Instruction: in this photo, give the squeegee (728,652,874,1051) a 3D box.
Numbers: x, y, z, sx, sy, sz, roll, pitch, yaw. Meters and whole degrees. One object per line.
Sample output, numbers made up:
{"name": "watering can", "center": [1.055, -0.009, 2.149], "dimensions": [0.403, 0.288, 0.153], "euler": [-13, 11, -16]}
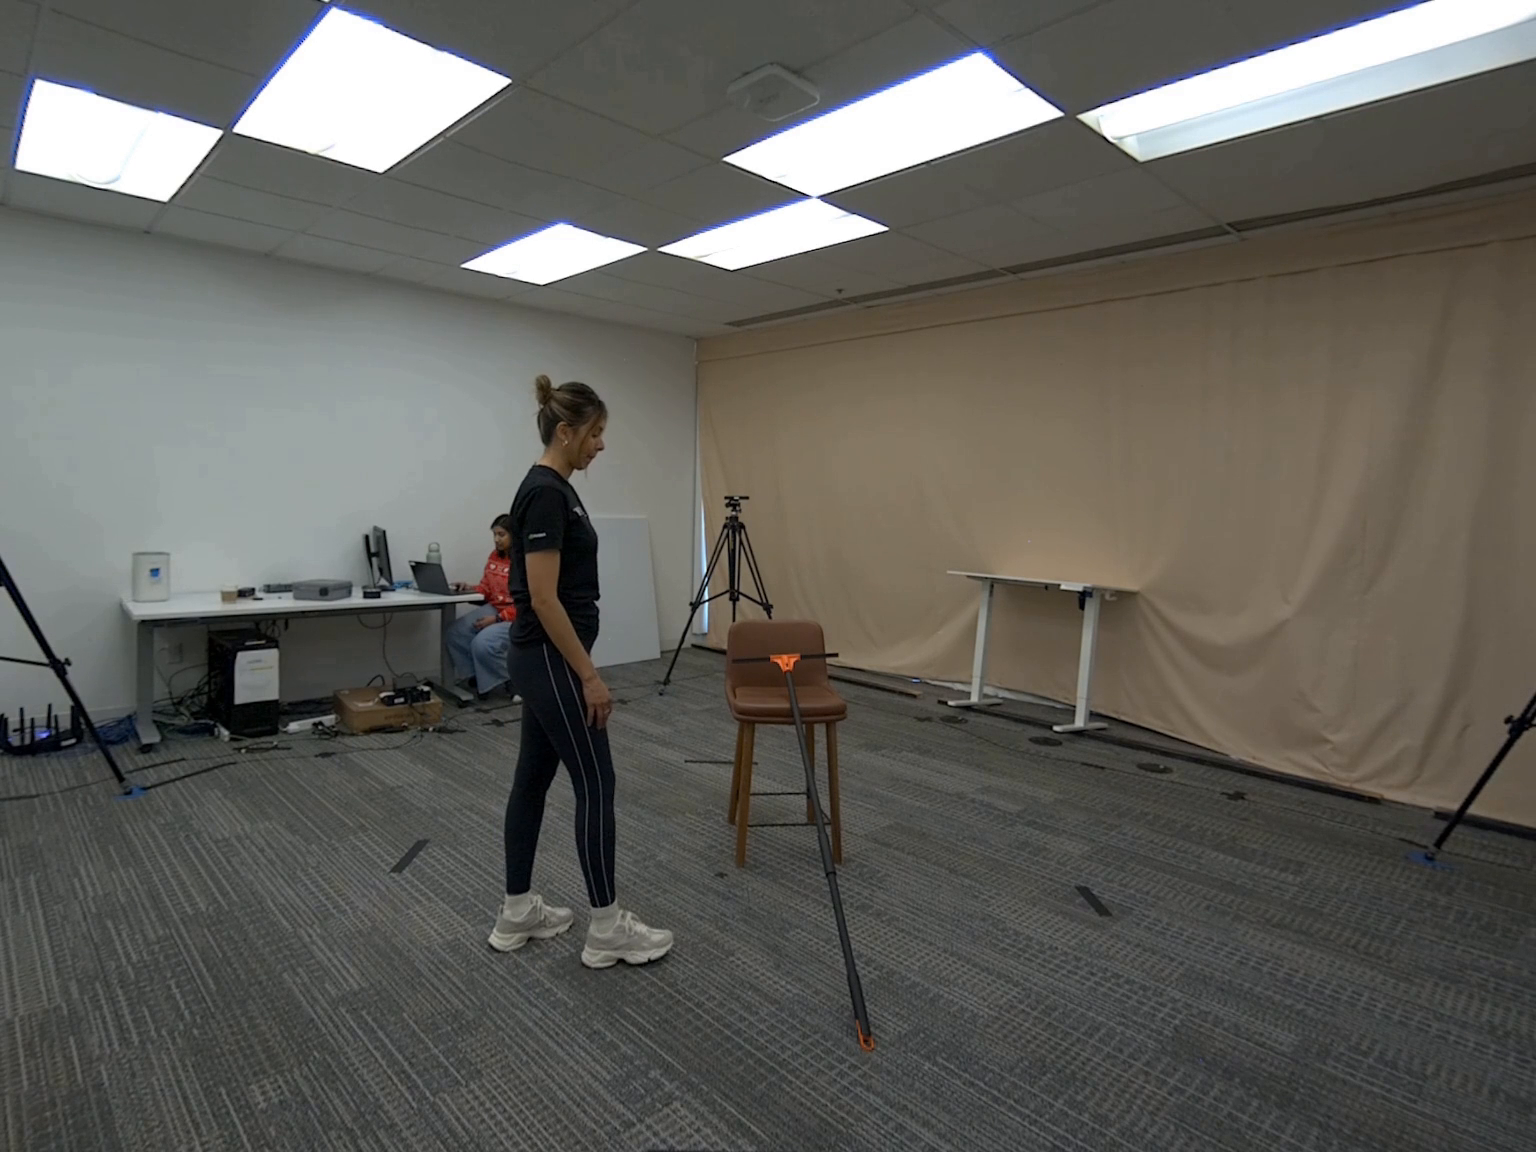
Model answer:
{"name": "squeegee", "center": [0.142, 0.746, 2.788], "dimensions": [0.438, 0.051, 1.576], "euler": [-17, 35, 2]}
